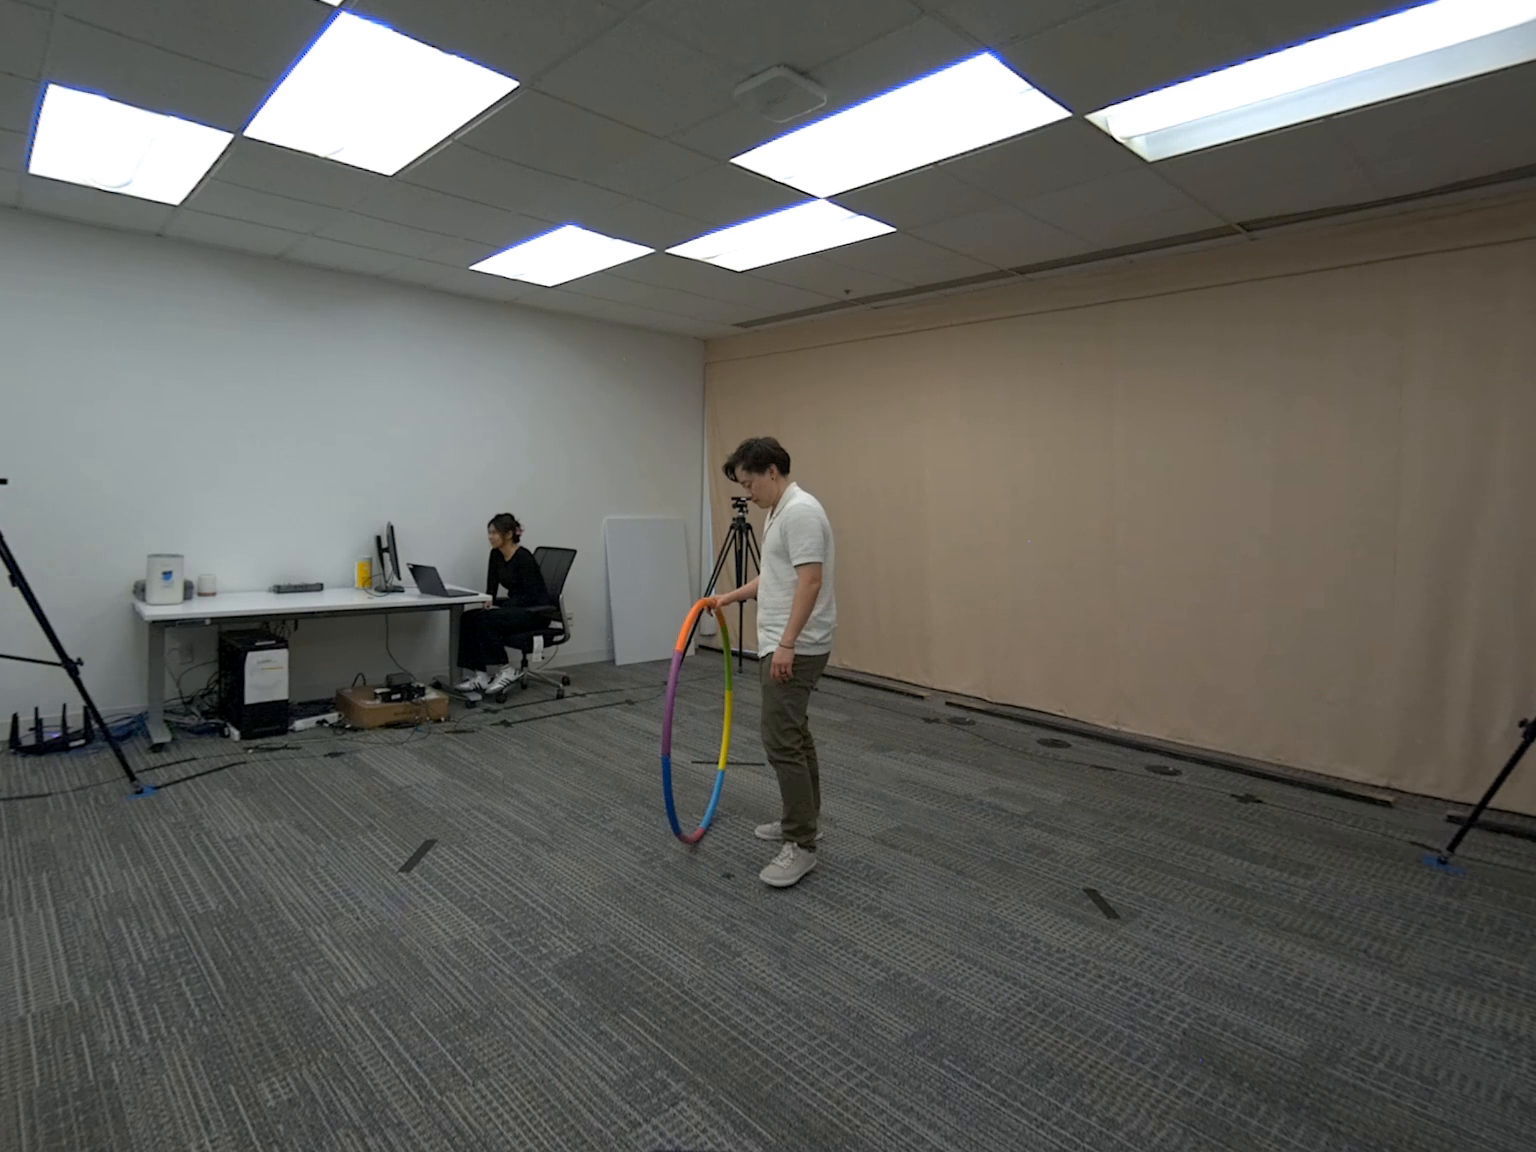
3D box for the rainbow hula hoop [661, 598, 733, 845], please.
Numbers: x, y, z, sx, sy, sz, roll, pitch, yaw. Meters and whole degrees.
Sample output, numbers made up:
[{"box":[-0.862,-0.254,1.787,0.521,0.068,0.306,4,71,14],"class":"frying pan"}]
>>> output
[{"box":[-0.273,0.587,3.447,0.036,0.976,0.972,1,4,10],"class":"rainbow hula hoop"}]
